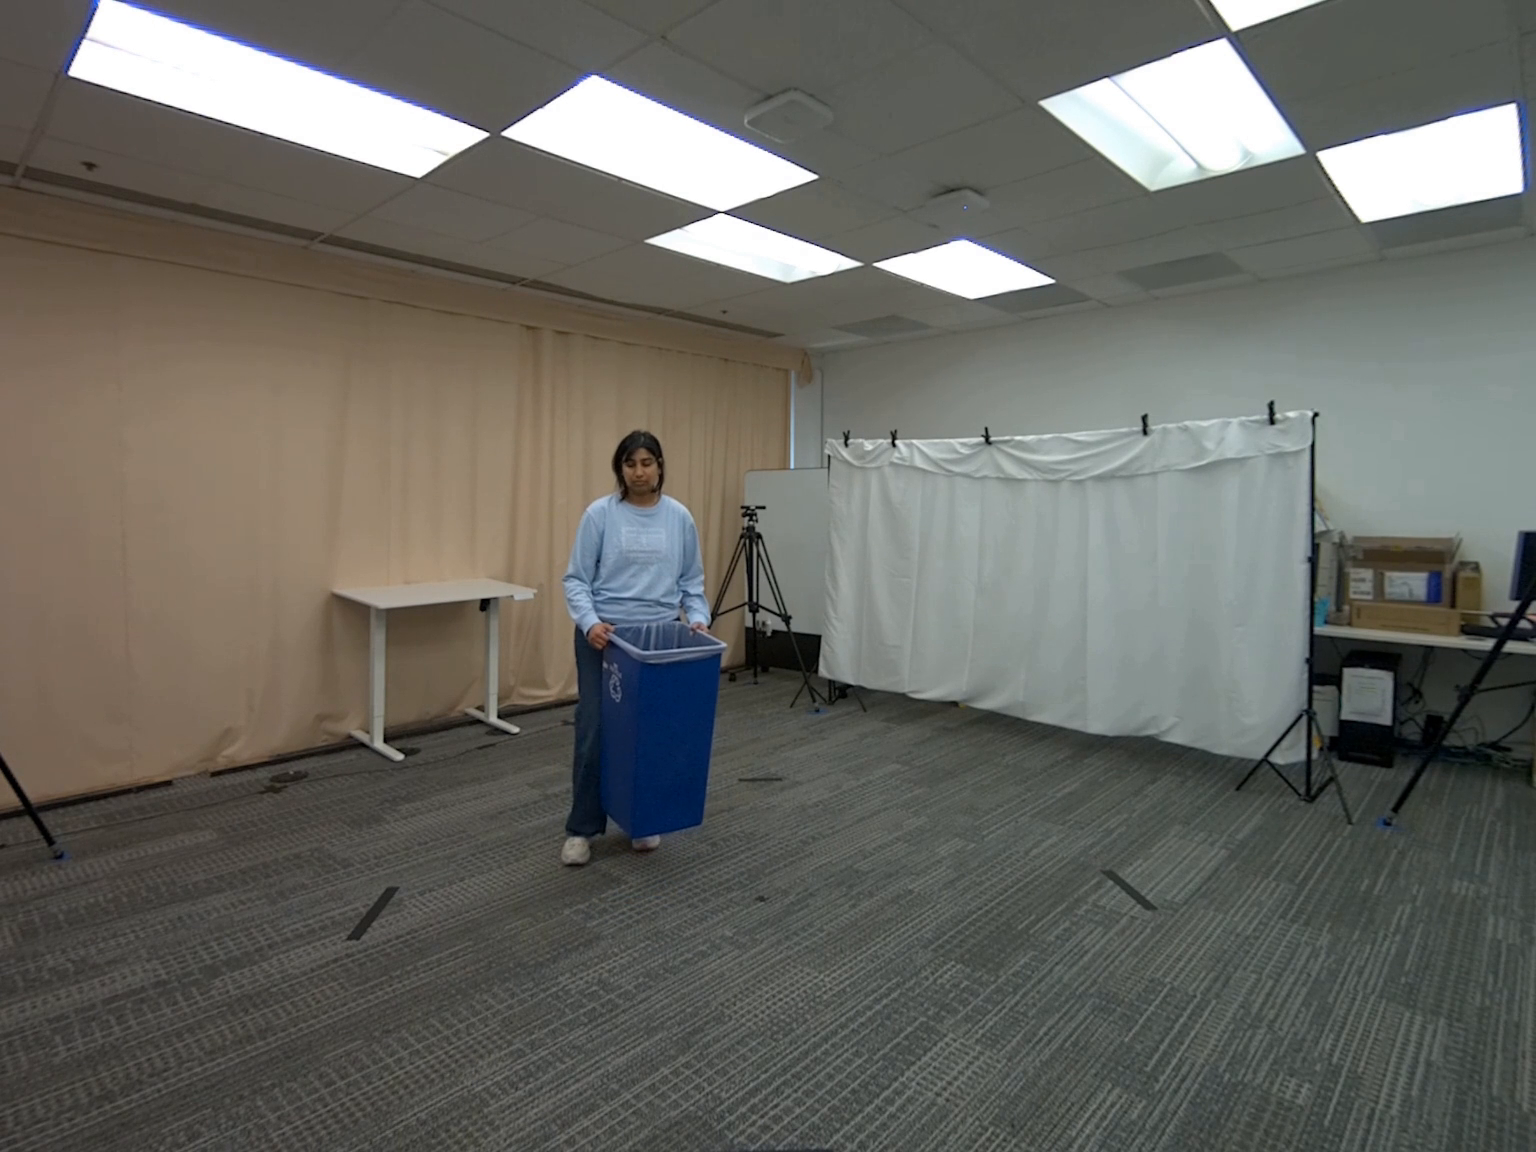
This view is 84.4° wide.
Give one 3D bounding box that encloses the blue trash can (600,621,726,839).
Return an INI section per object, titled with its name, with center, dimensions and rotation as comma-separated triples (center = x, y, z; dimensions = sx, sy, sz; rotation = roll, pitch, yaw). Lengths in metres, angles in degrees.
[blue trash can]
center = -0.411, 0.577, 3.177
dimensions = 0.367, 0.710, 0.387
rotation = -2, 11, -33
